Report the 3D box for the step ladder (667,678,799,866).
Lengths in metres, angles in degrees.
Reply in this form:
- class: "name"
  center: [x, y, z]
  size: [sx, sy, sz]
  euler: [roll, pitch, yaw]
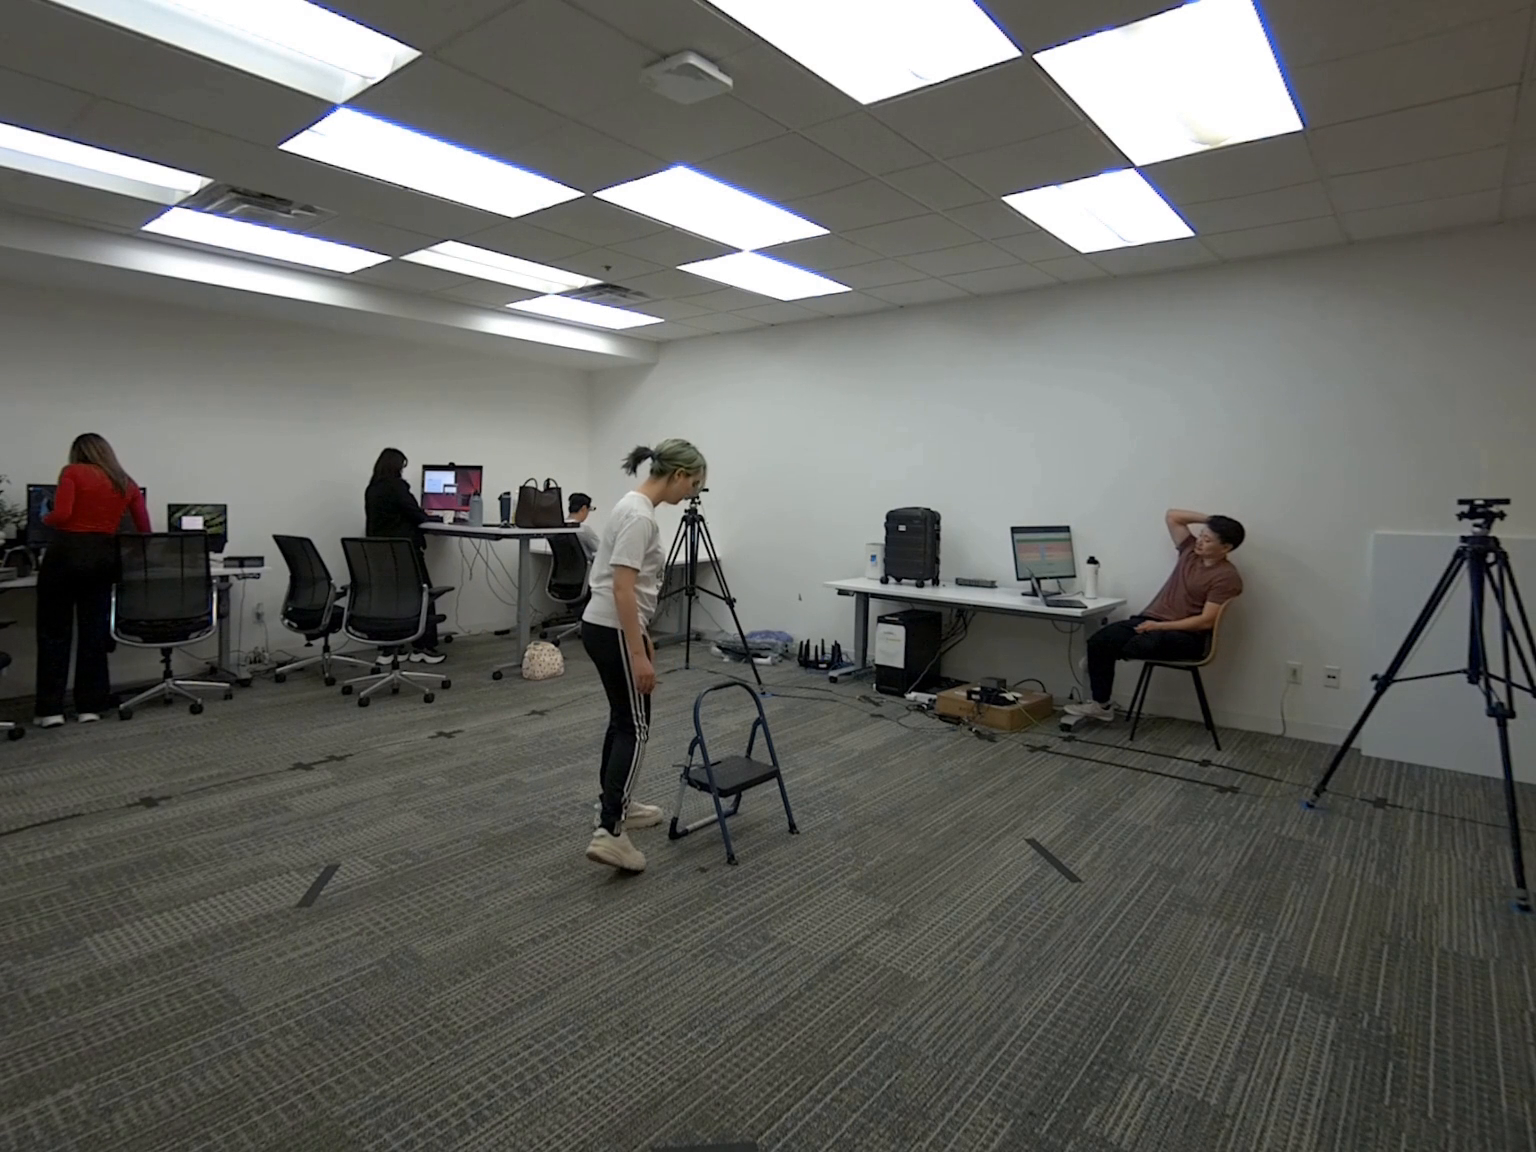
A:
- class: "step ladder"
  center: [-0.141, 0.739, 3.398]
  size: [0.361, 0.604, 0.418]
  euler: [4, 4, 39]
